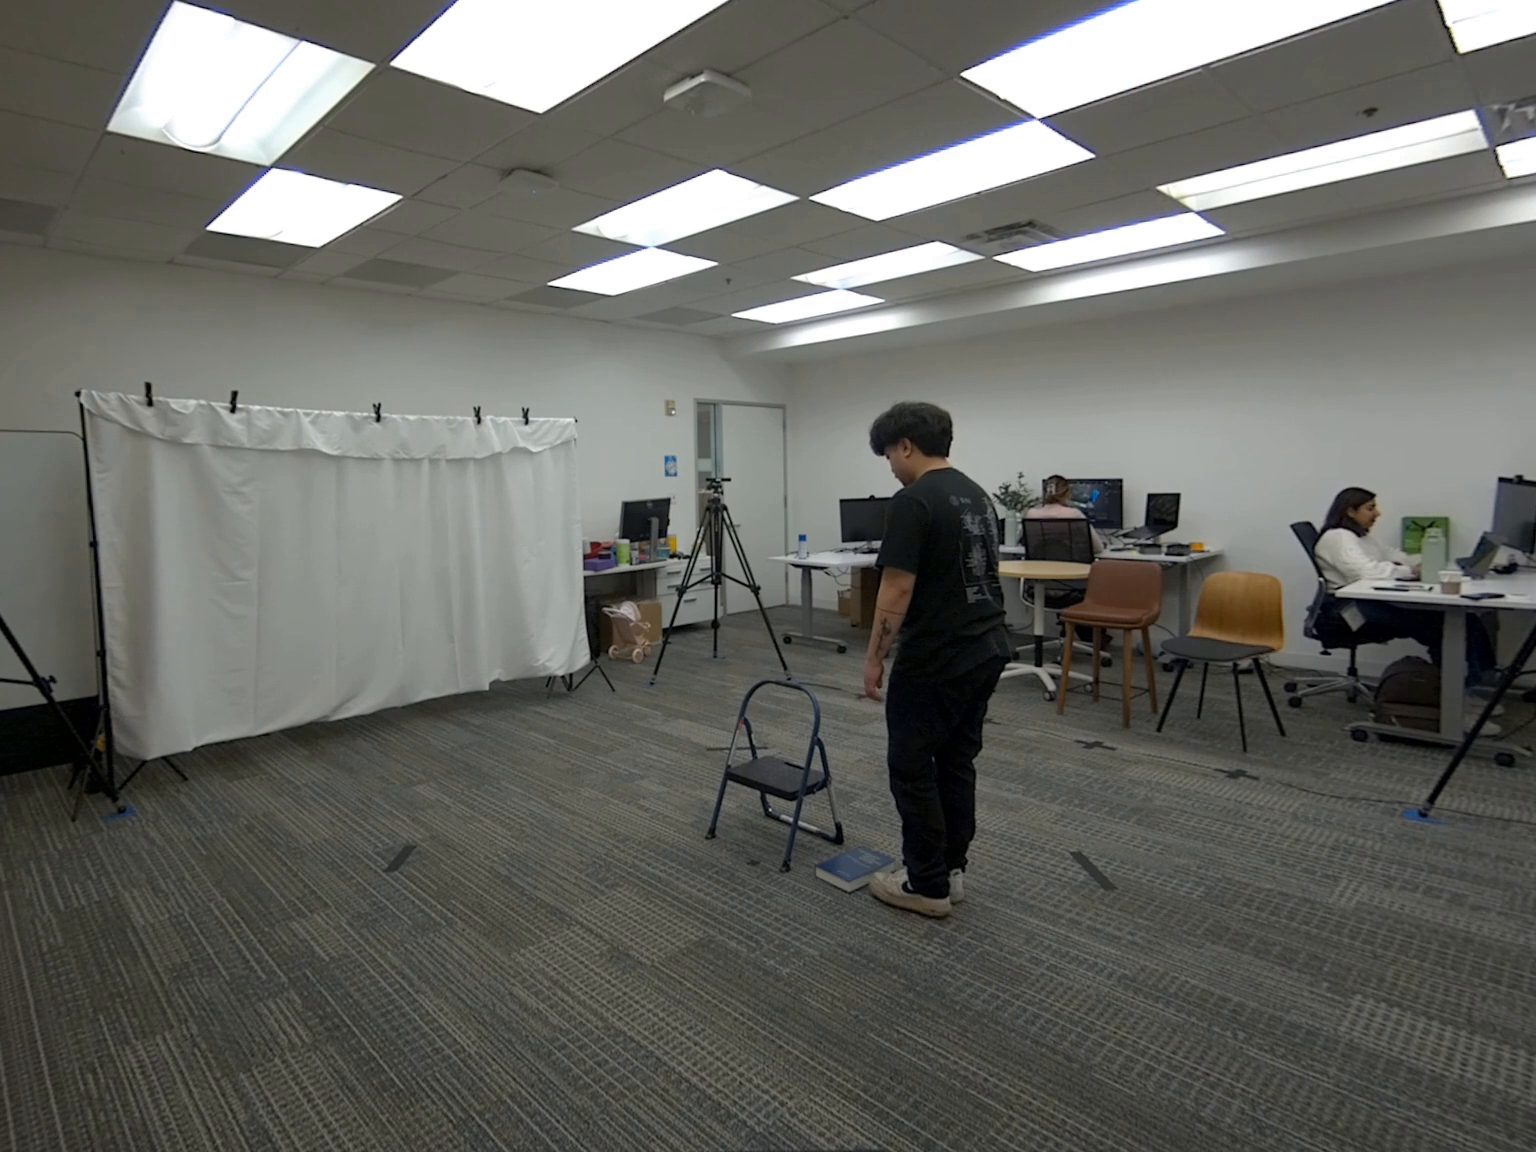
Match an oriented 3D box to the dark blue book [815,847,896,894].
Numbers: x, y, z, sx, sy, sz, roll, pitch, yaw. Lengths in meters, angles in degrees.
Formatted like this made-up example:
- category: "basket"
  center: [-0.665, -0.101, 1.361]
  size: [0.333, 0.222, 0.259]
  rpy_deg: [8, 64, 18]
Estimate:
- category: "dark blue book"
  center: [0.315, 1.031, 2.996]
  size: [0.239, 0.045, 0.168]
  rpy_deg: [-6, 8, -41]
